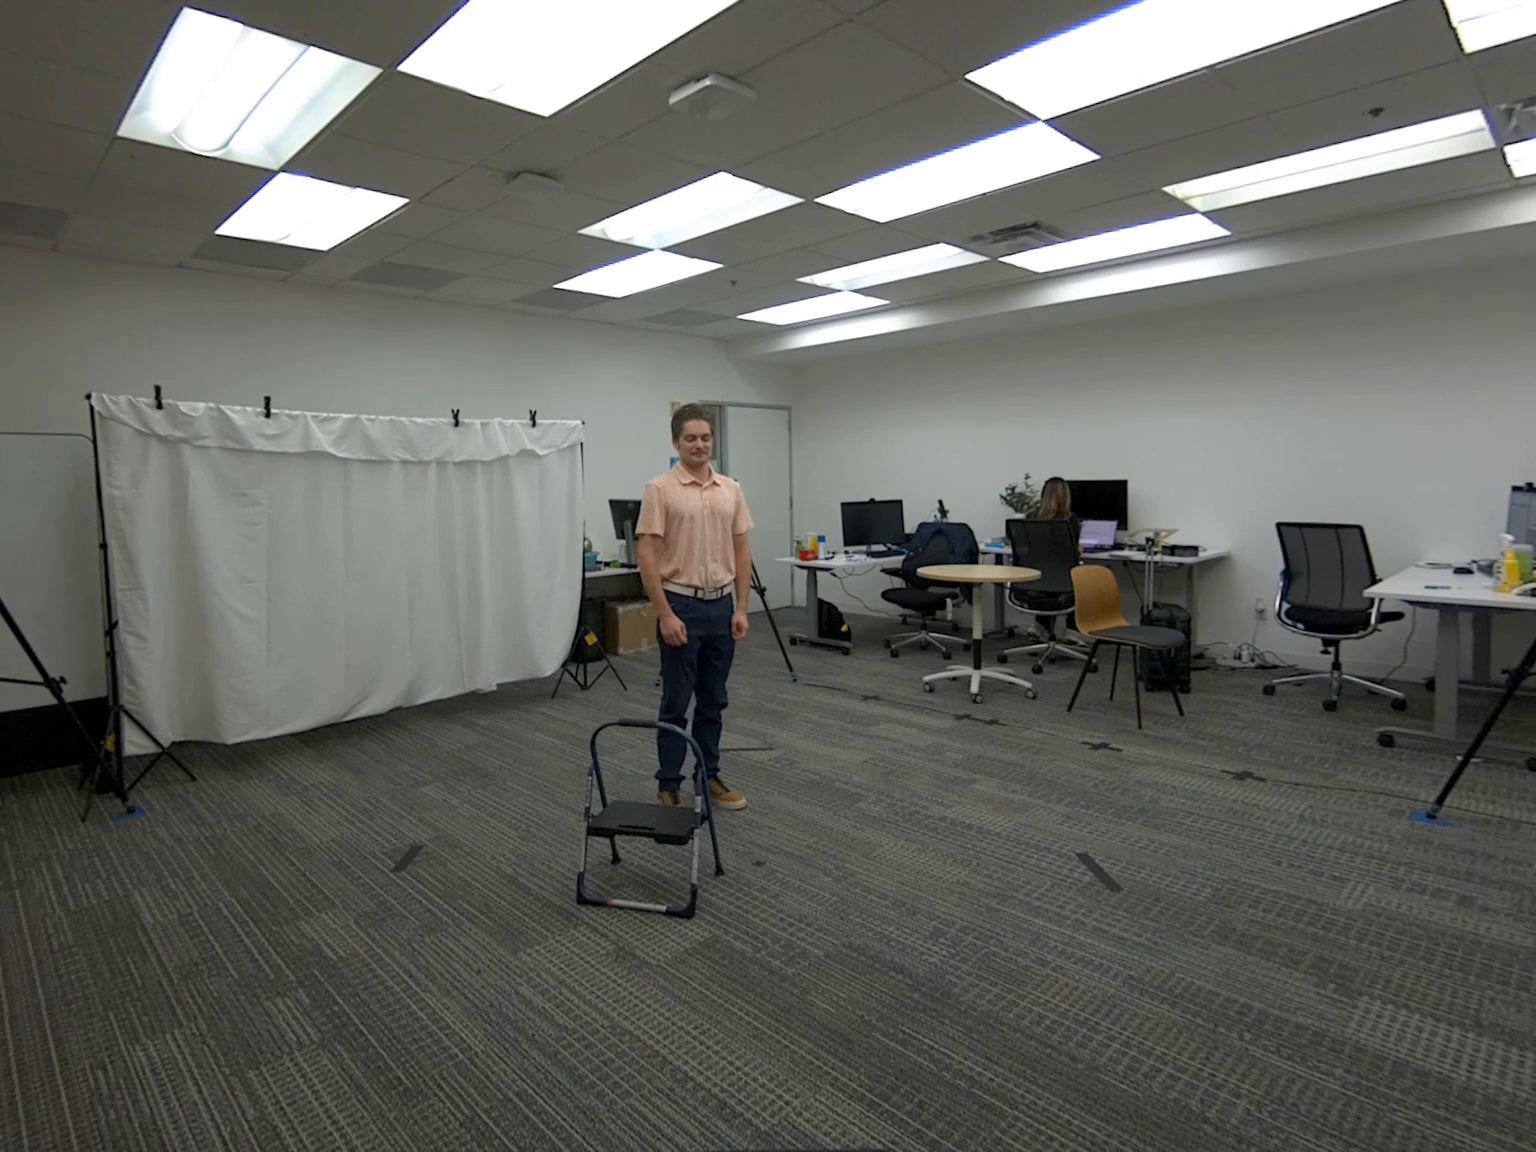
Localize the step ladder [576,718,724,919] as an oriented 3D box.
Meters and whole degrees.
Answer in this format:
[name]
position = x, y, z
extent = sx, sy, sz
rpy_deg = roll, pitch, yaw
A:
[step ladder]
position = -0.409, 0.776, 2.922
extent = 0.437, 0.604, 0.345
rpy_deg = 0, 4, 15
